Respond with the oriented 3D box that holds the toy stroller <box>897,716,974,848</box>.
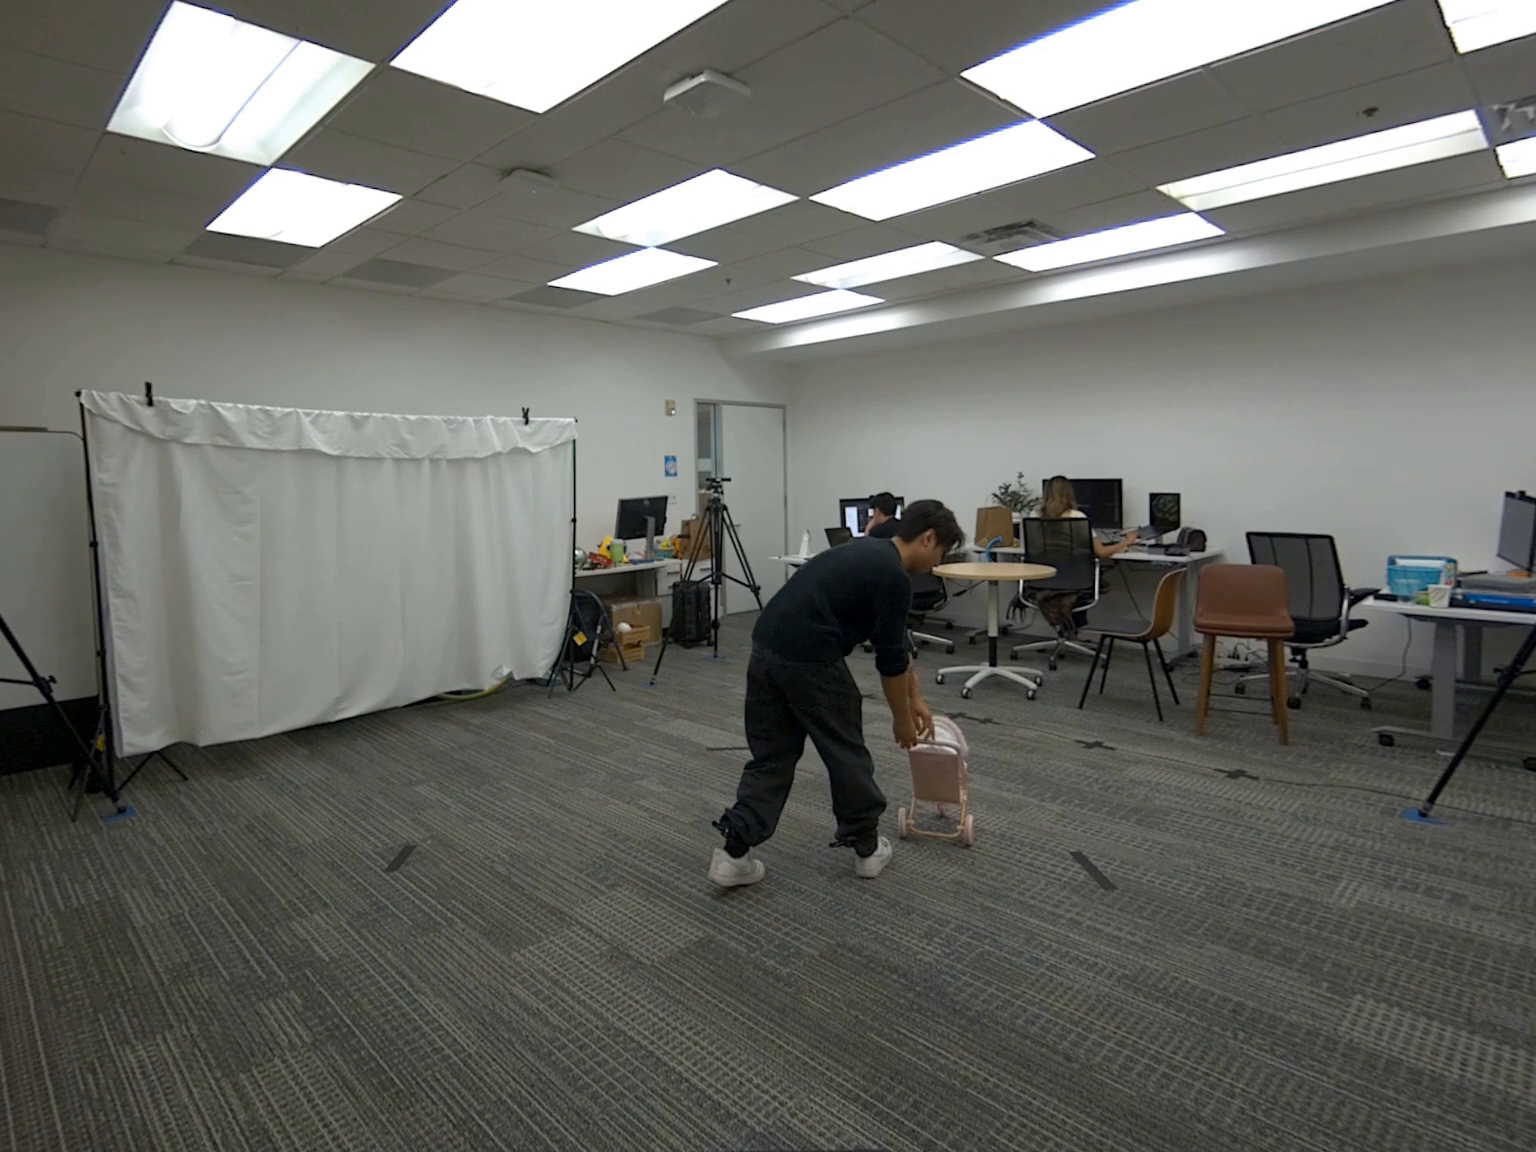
[{"bbox_3d":[0.662,0.780,3.323,0.287,0.526,0.340,1,19,23],"label":"toy stroller"}]
